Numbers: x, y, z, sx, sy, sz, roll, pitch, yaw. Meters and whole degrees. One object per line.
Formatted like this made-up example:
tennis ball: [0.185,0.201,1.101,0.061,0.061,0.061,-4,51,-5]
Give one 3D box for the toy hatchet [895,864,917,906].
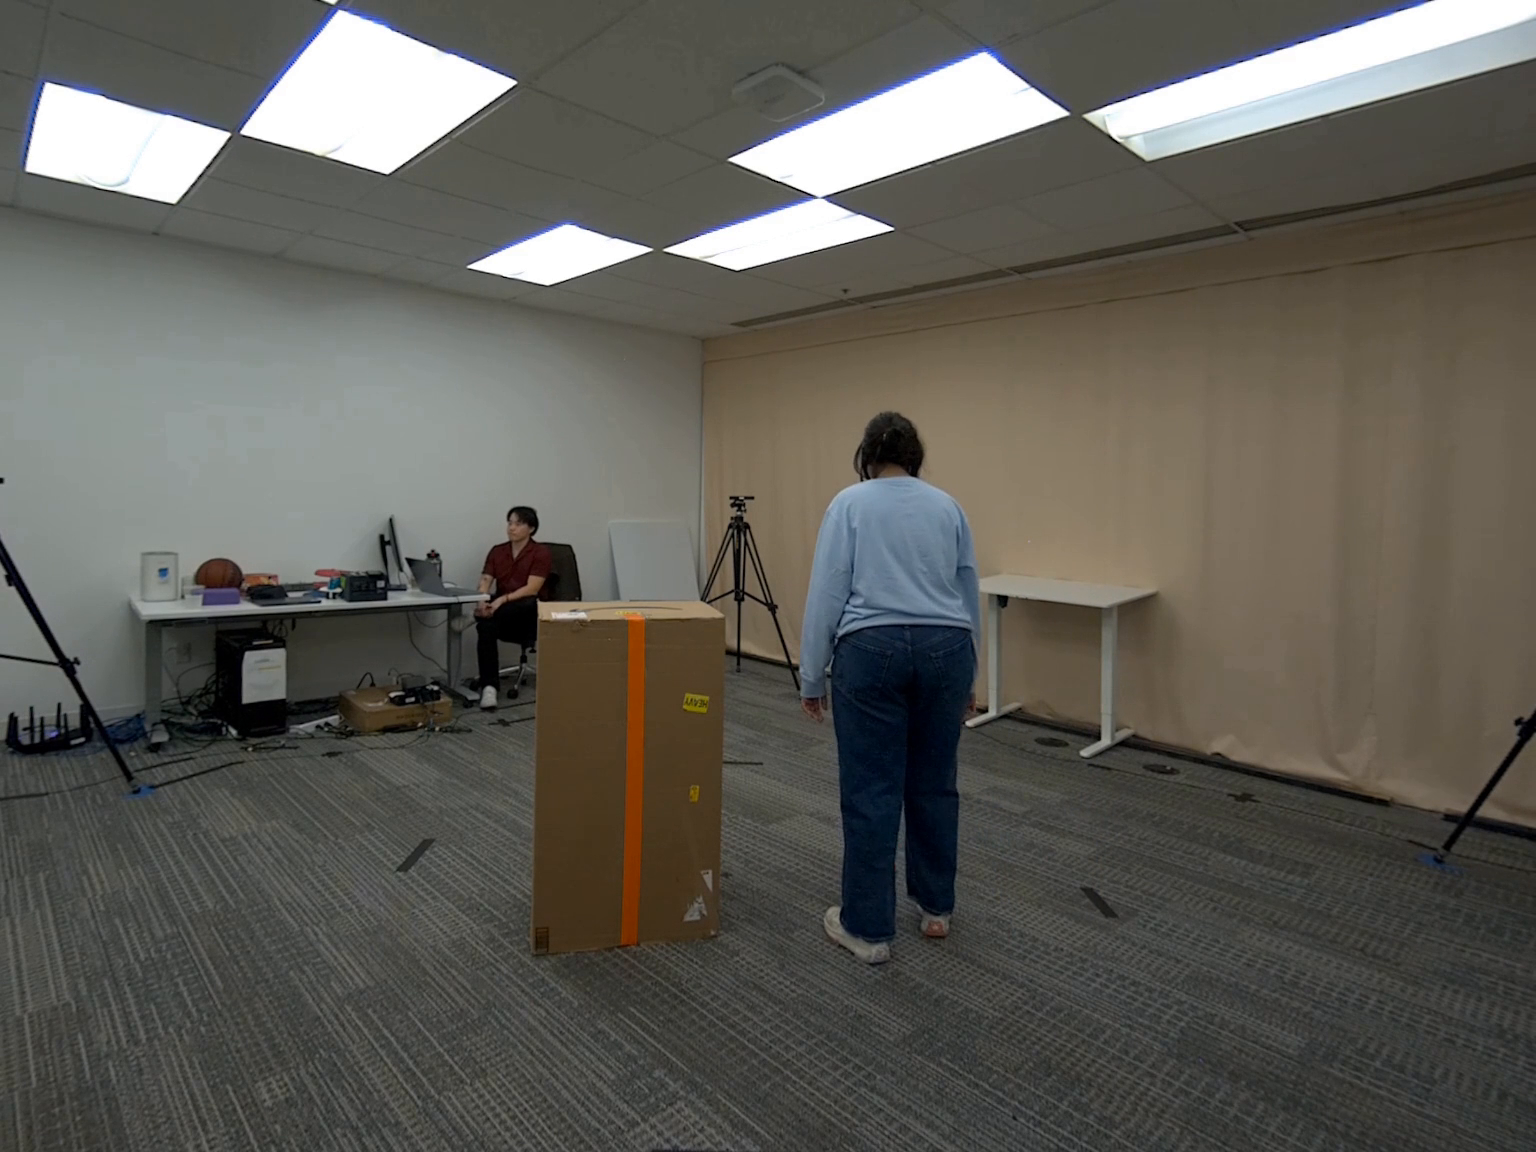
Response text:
toy hatchet: [0.433,1.112,3.078,0.130,0.029,0.273,3,7,-11]
